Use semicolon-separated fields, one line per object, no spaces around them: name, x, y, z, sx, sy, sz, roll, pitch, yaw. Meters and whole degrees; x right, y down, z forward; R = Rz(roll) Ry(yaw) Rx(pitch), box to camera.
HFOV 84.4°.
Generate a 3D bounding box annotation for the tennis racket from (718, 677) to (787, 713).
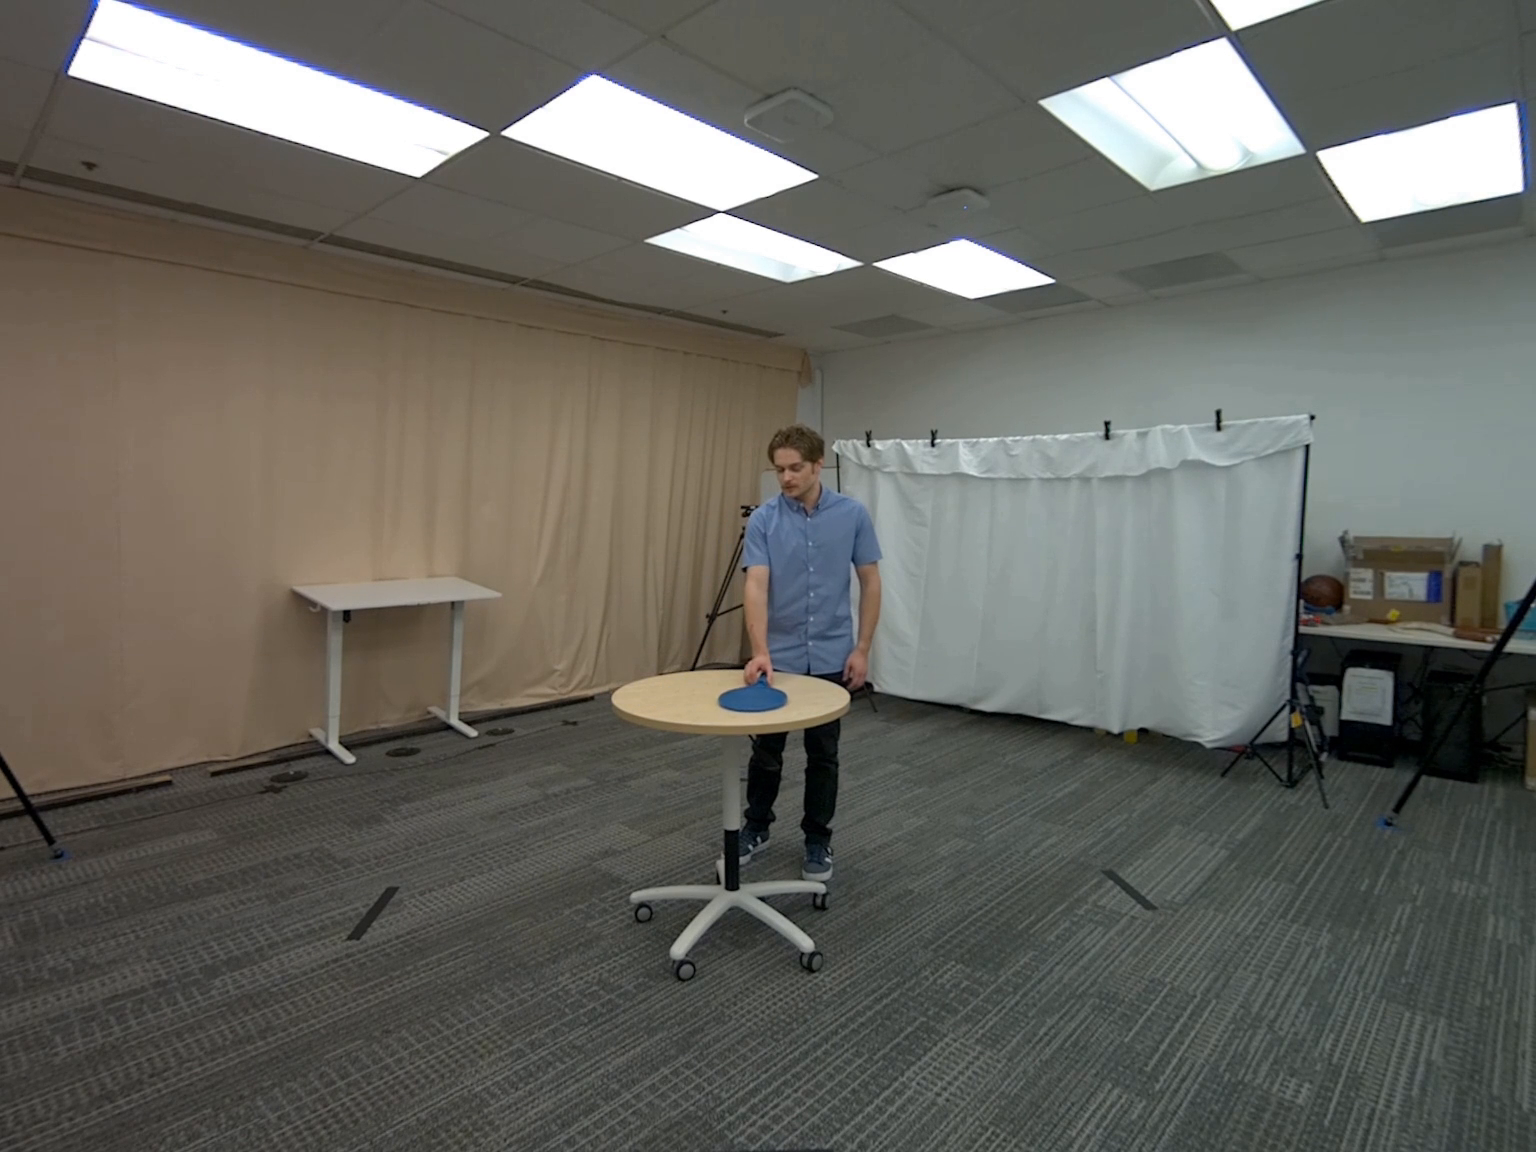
tennis racket;-0.031;0.377;2.692;0.216;0.031;0.430;0;7;8
